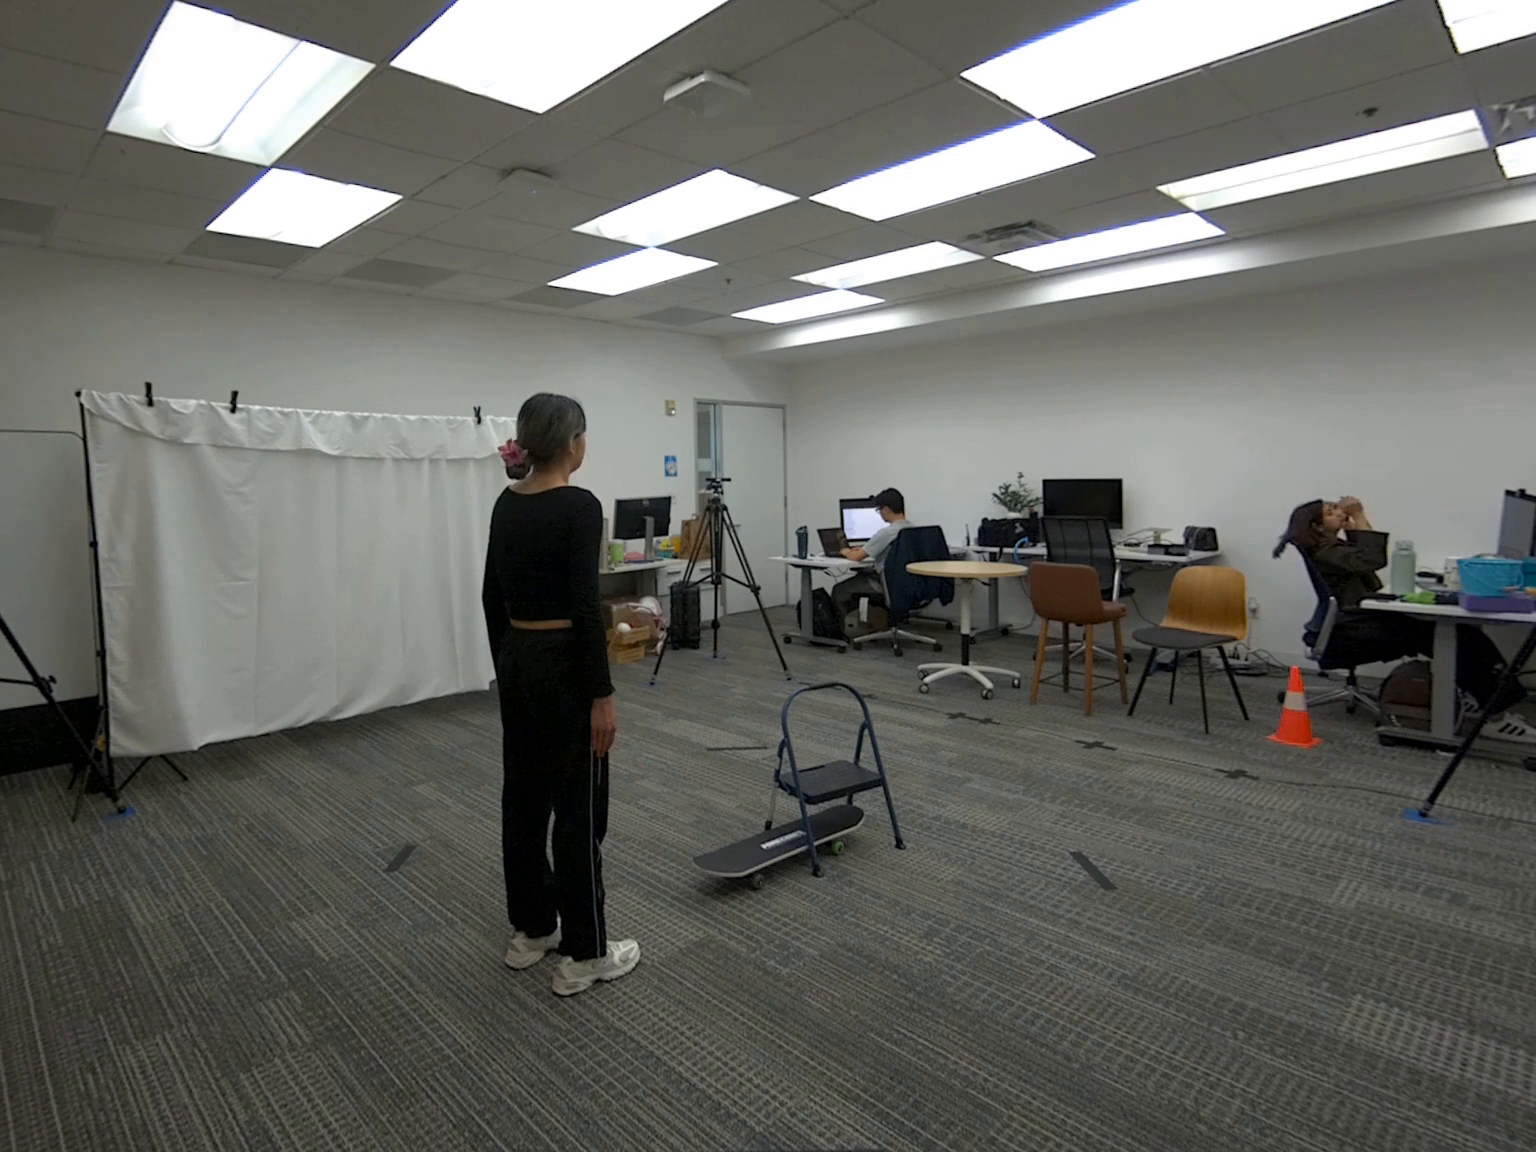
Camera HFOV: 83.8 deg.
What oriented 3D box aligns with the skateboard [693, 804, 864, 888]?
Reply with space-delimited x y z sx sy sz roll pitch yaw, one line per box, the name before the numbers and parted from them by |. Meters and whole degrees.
skateboard | 0.058 0.982 3.092 0.765 0.110 0.199 -6 7 -40
